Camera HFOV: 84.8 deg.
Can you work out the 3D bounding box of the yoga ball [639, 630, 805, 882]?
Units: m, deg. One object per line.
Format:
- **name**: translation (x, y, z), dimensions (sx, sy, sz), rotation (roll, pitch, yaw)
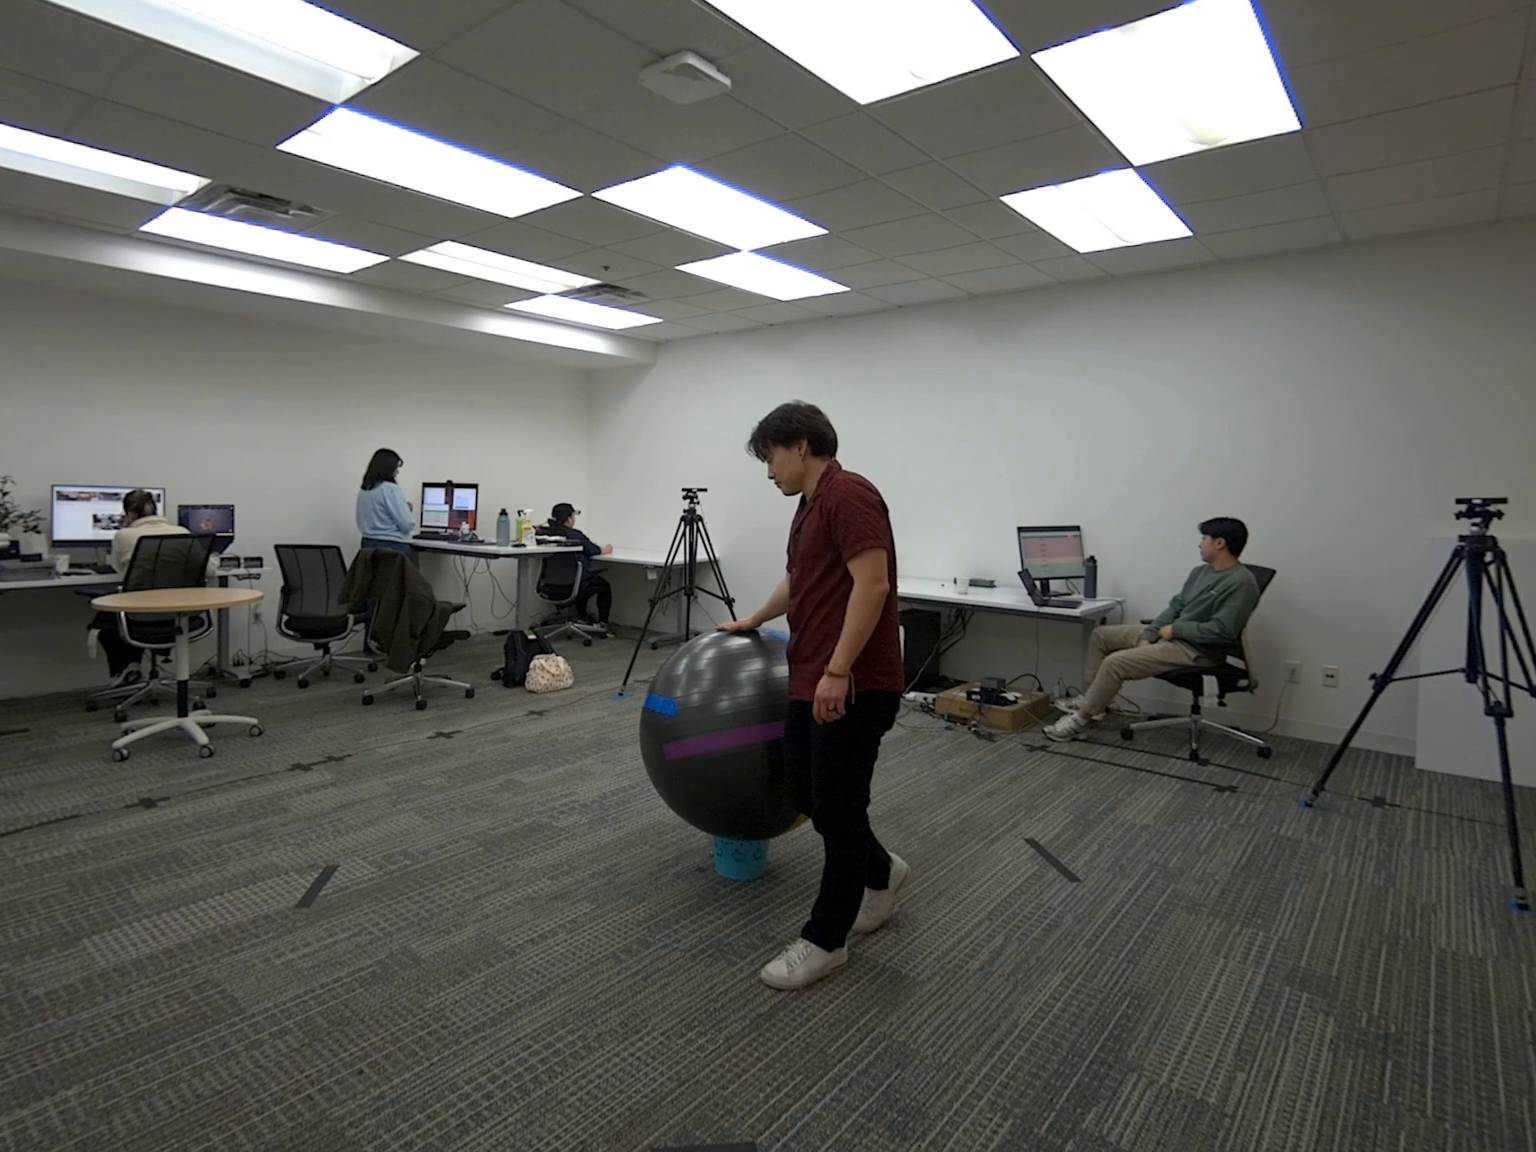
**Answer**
- **yoga ball**: translation (-0.103, 0.561, 3.096), dimensions (0.757, 0.755, 0.762), rotation (1, 4, -2)
